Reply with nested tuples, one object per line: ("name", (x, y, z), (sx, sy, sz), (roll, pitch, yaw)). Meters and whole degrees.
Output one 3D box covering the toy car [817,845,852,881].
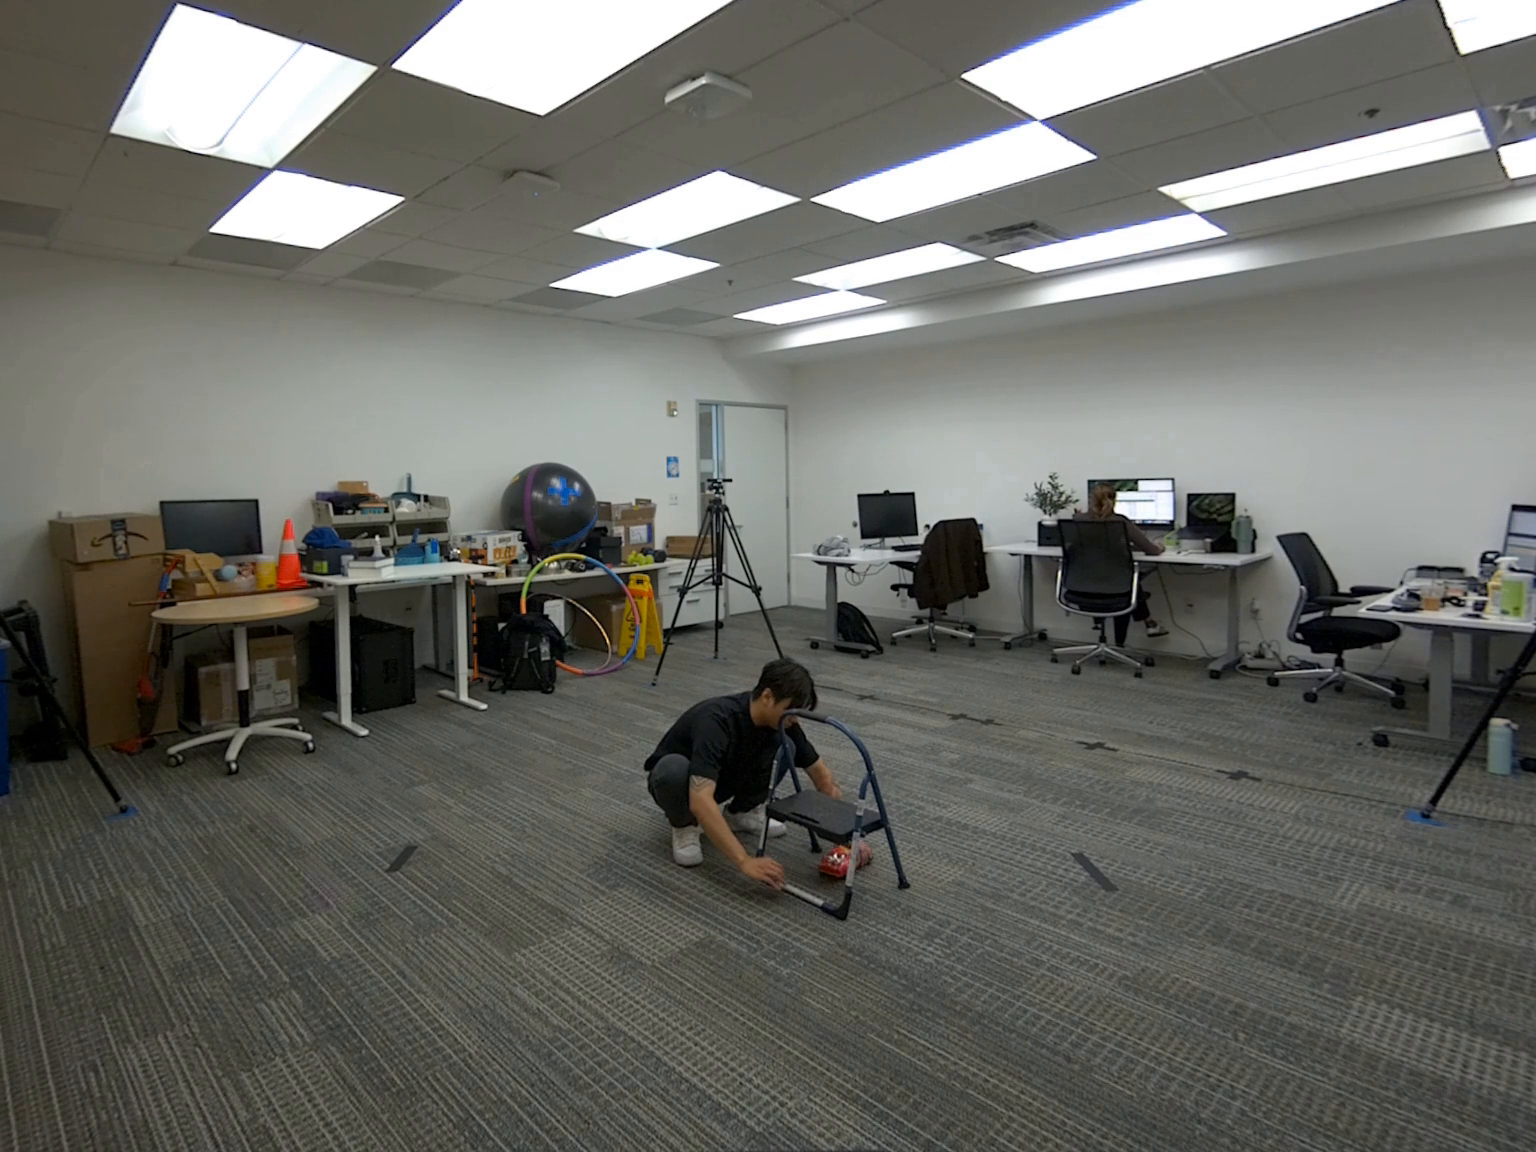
("toy car", (0.275, 1.014, 3.048), (0.134, 0.083, 0.246), (4, -4, 33))
